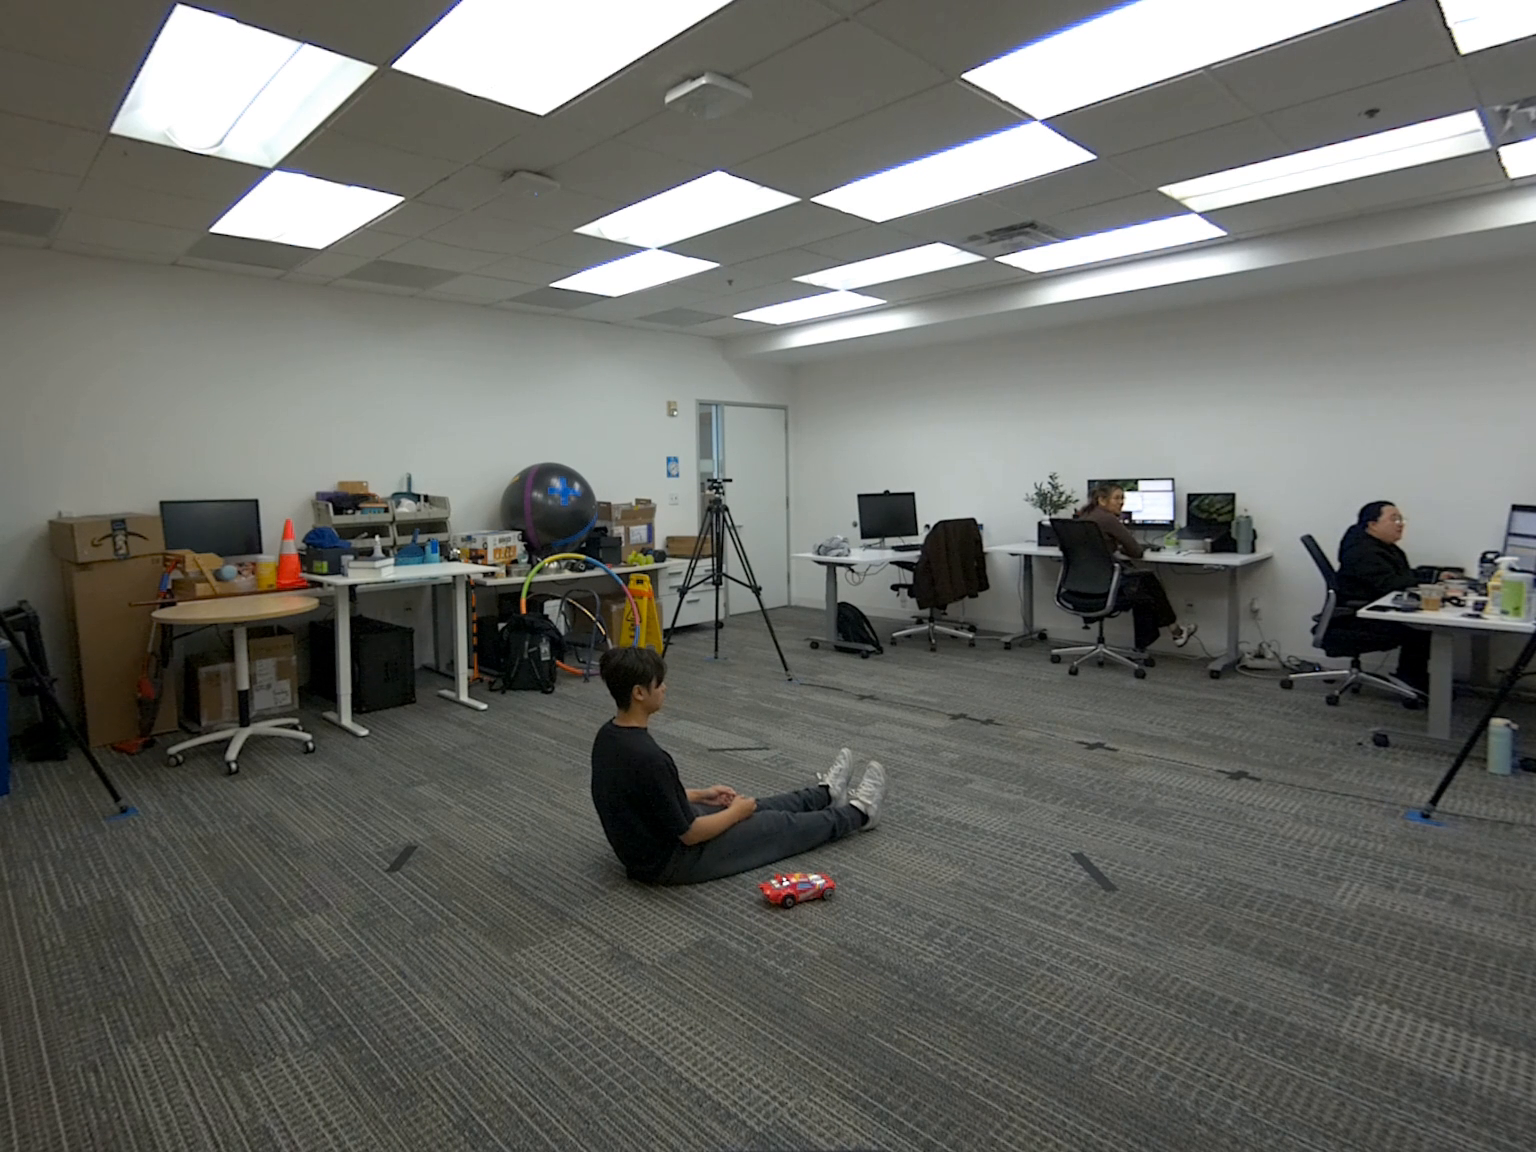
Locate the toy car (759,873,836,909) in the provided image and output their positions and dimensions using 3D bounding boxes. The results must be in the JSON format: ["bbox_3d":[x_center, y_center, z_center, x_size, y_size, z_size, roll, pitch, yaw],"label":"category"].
[{"bbox_3d":[0.092,1.035,2.839,0.249,0.083,0.133,8,2,-21],"label":"toy car"}]
